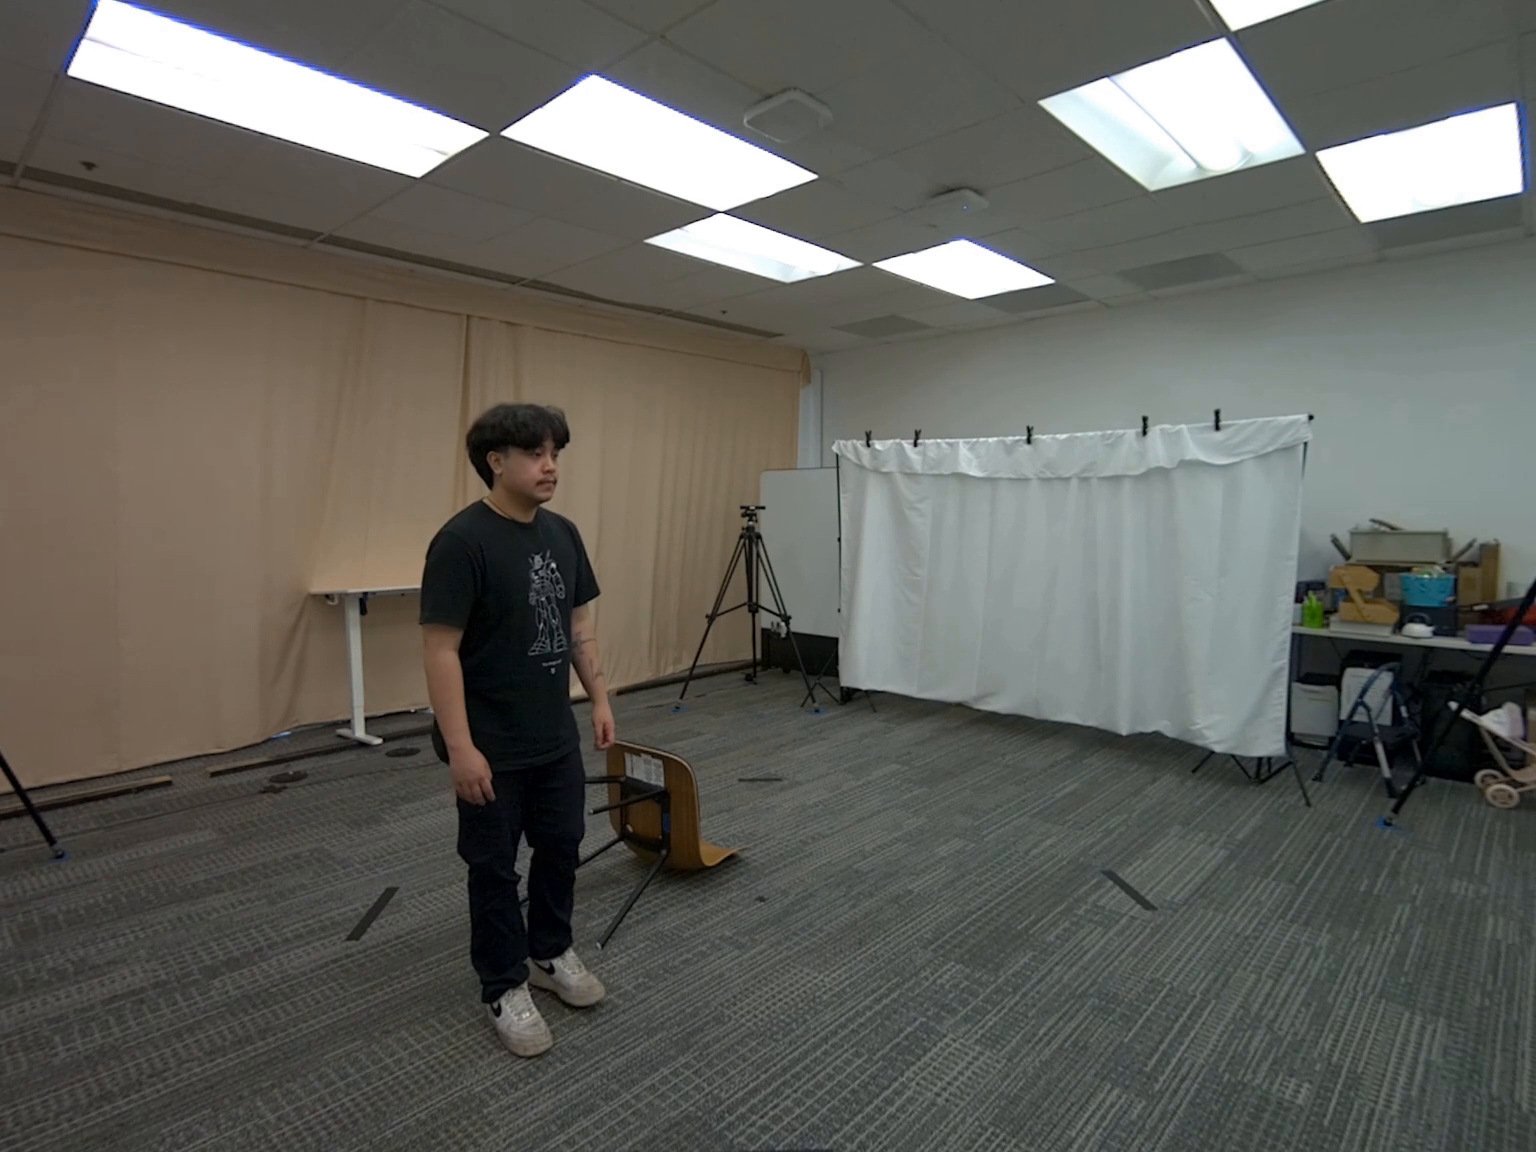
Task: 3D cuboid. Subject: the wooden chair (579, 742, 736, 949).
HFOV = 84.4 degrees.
[{"bbox_3d":[-0.455,0.880,3.087,0.494,0.522,0.850,2,4,39],"label":"wooden chair"}]
